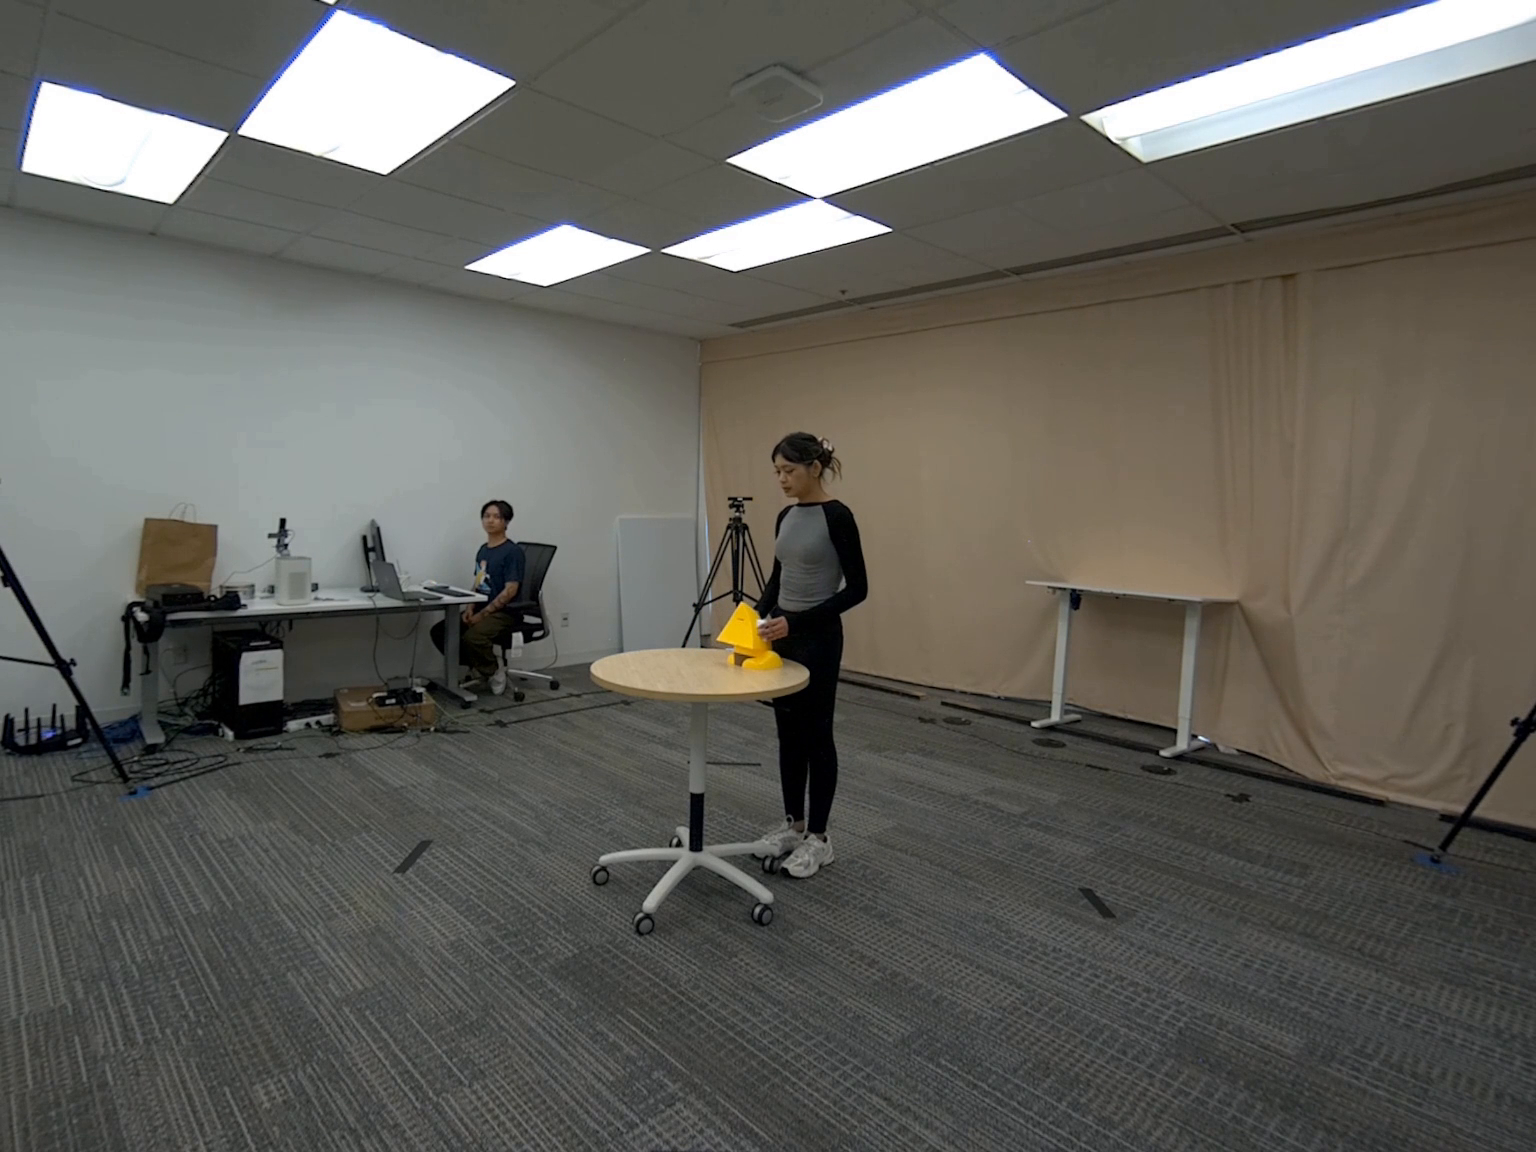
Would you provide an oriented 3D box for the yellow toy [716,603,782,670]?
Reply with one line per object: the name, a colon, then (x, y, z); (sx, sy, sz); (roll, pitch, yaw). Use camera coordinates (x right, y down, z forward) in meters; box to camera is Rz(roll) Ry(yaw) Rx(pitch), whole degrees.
yellow toy: (-0.061, 0.207, 3.056); (0.188, 0.230, 0.210); (0, 5, -40)
